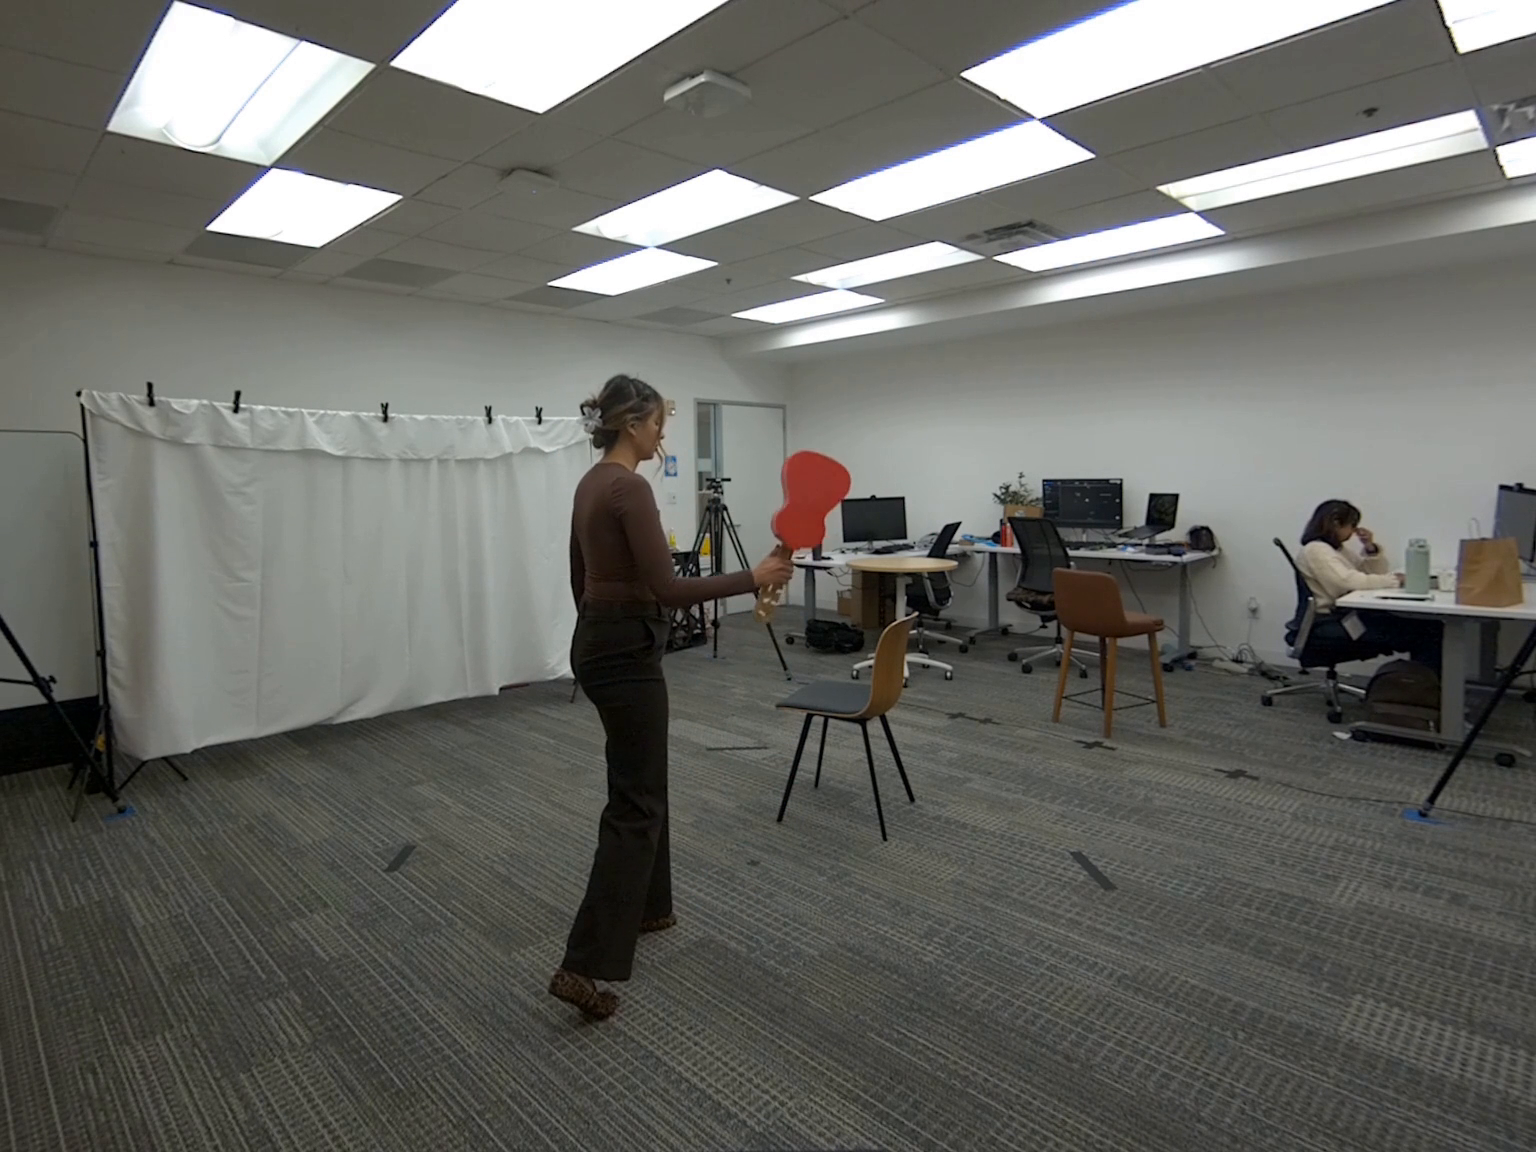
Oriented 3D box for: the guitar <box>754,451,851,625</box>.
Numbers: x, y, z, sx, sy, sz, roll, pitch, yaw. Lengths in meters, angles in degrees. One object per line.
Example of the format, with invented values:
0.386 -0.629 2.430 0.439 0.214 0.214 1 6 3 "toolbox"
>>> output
0.094 -0.095 2.411 0.191 0.499 0.071 10 -3 -11 "guitar"
